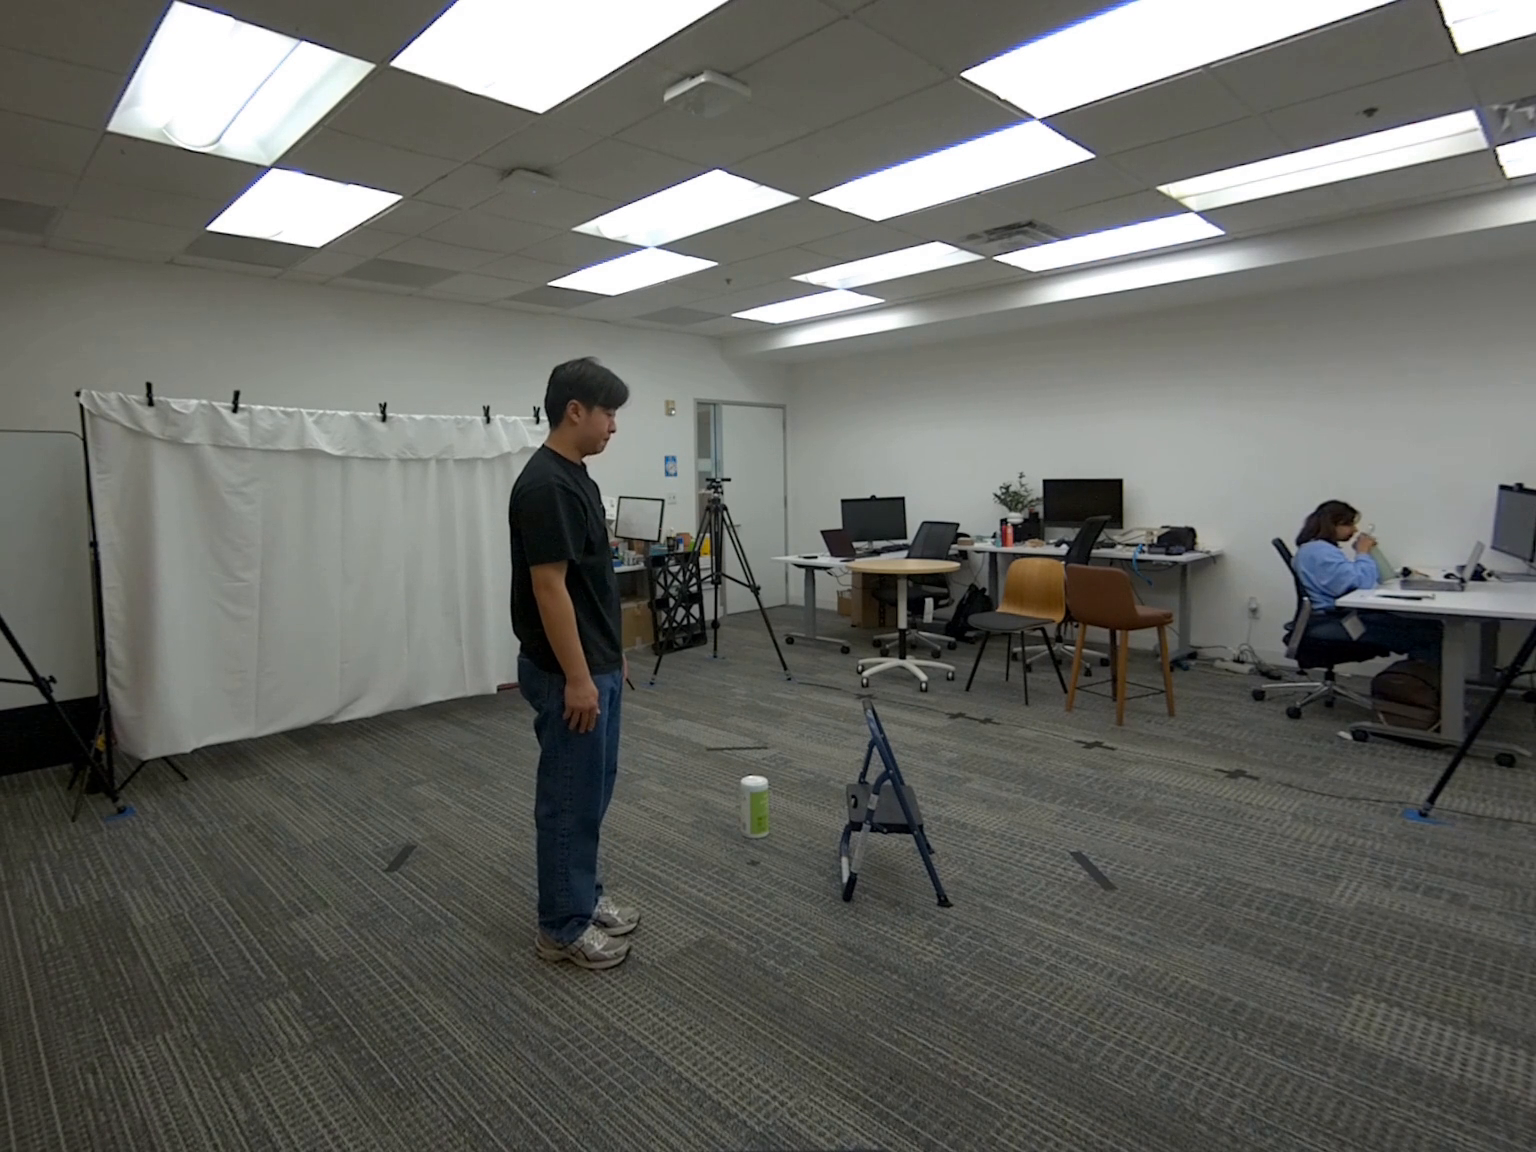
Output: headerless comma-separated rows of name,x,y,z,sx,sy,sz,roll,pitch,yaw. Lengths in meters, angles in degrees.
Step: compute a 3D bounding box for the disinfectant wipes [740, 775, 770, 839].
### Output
disinfectant wipes,-0.048,0.906,3.353,0.118,0.216,0.118,0,5,-2
